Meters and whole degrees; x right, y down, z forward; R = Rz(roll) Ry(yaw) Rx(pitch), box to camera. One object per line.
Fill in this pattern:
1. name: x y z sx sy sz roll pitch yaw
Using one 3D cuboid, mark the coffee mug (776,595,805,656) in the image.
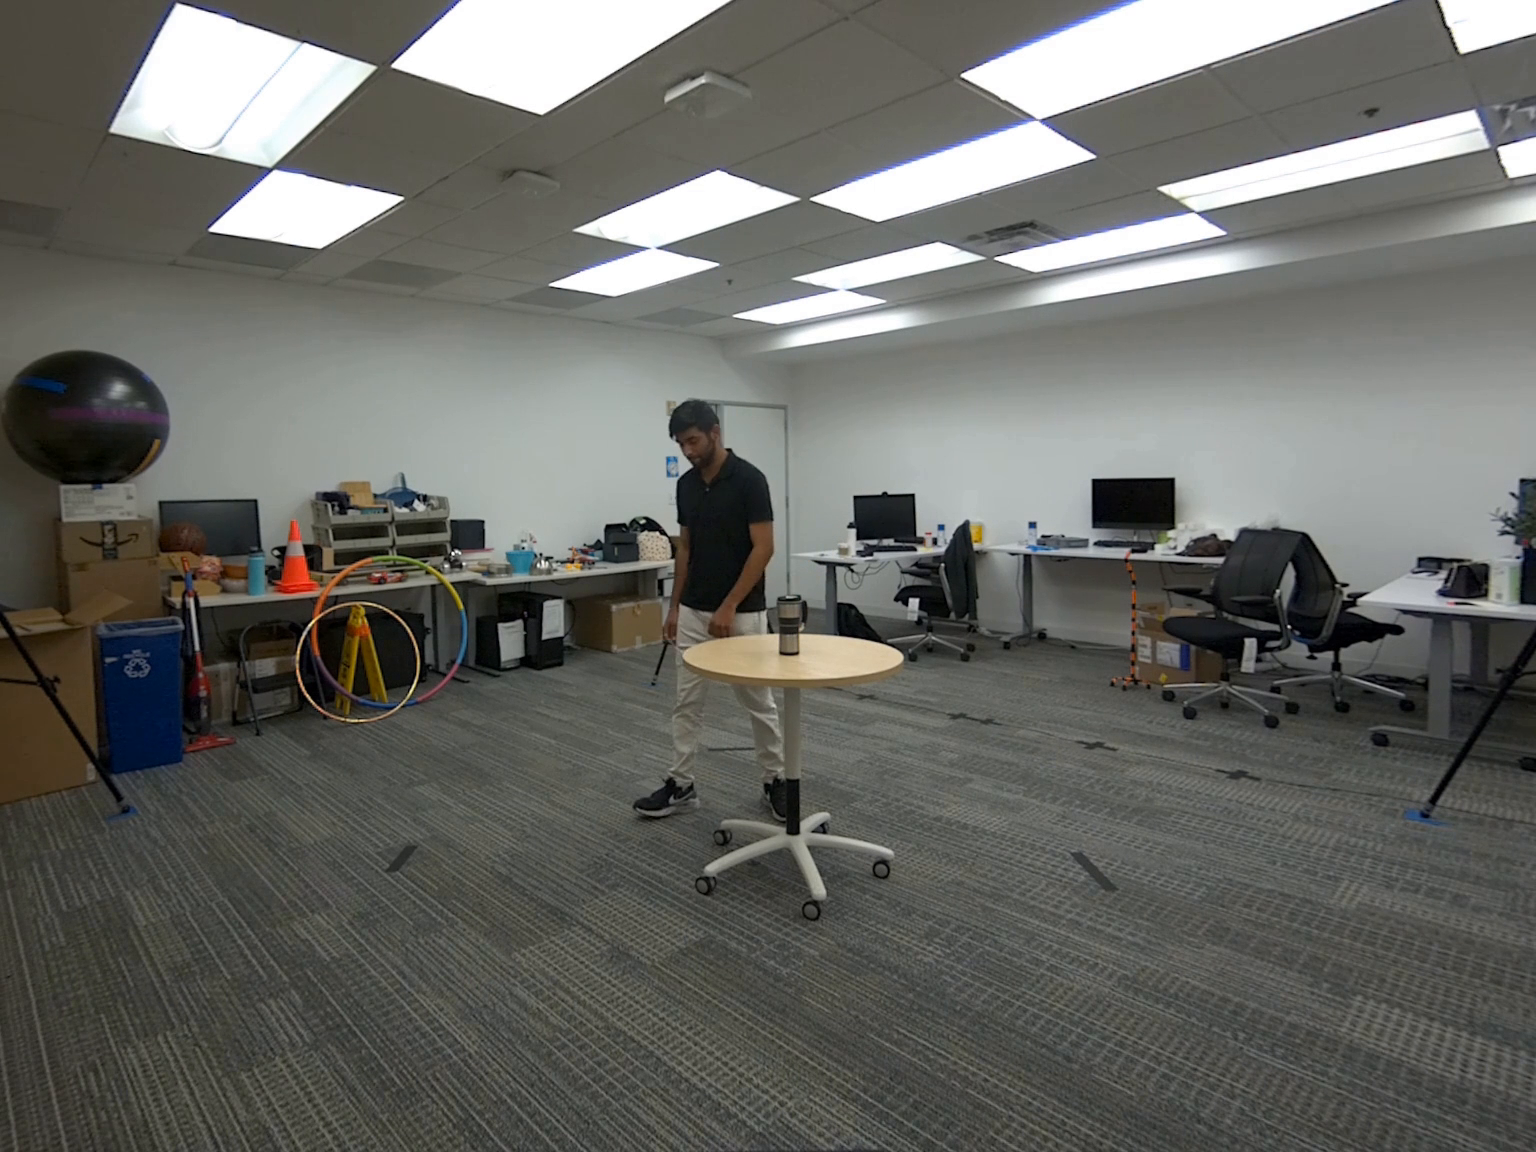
1. coffee mug: 0.099 0.175 2.989 0.120 0.202 0.090 -7 3 -25
